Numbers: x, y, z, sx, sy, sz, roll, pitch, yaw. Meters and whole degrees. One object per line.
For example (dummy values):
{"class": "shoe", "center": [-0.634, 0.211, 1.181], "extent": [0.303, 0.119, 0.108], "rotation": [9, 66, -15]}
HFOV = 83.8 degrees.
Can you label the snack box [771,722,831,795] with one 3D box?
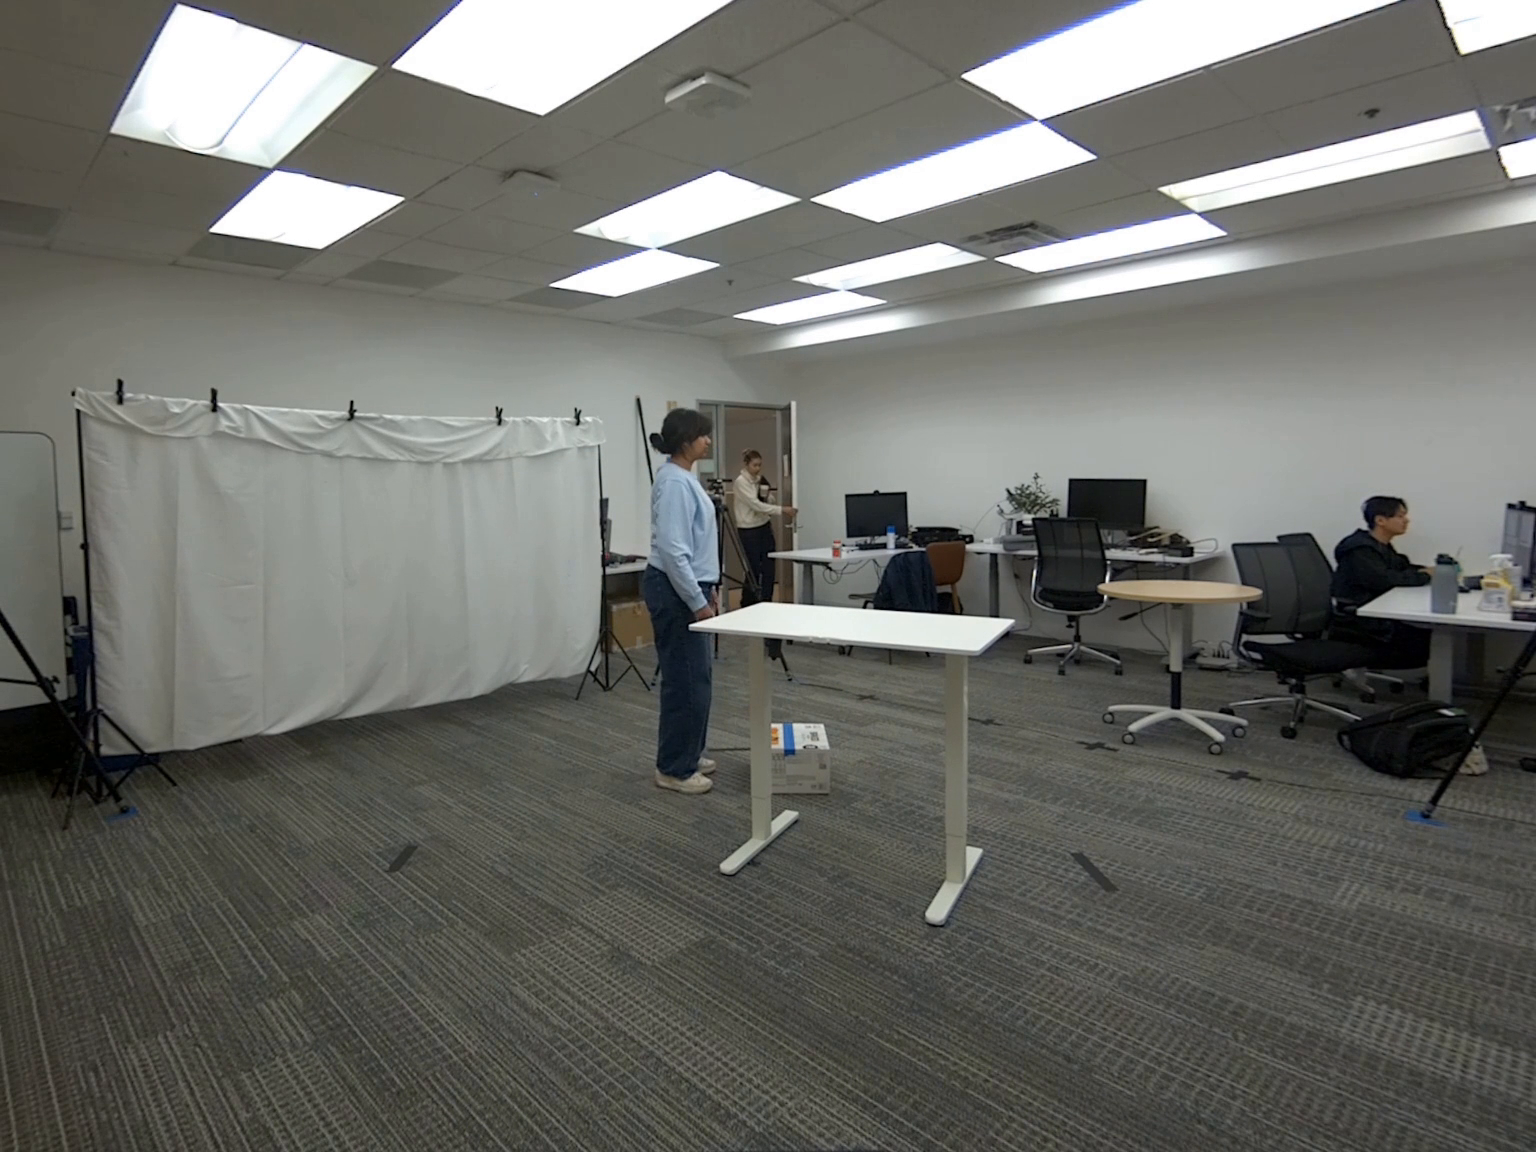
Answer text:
{"class": "snack box", "center": [0.098, 0.839, 3.965], "extent": [0.341, 0.205, 0.406], "rotation": [-1, 5, 1]}
